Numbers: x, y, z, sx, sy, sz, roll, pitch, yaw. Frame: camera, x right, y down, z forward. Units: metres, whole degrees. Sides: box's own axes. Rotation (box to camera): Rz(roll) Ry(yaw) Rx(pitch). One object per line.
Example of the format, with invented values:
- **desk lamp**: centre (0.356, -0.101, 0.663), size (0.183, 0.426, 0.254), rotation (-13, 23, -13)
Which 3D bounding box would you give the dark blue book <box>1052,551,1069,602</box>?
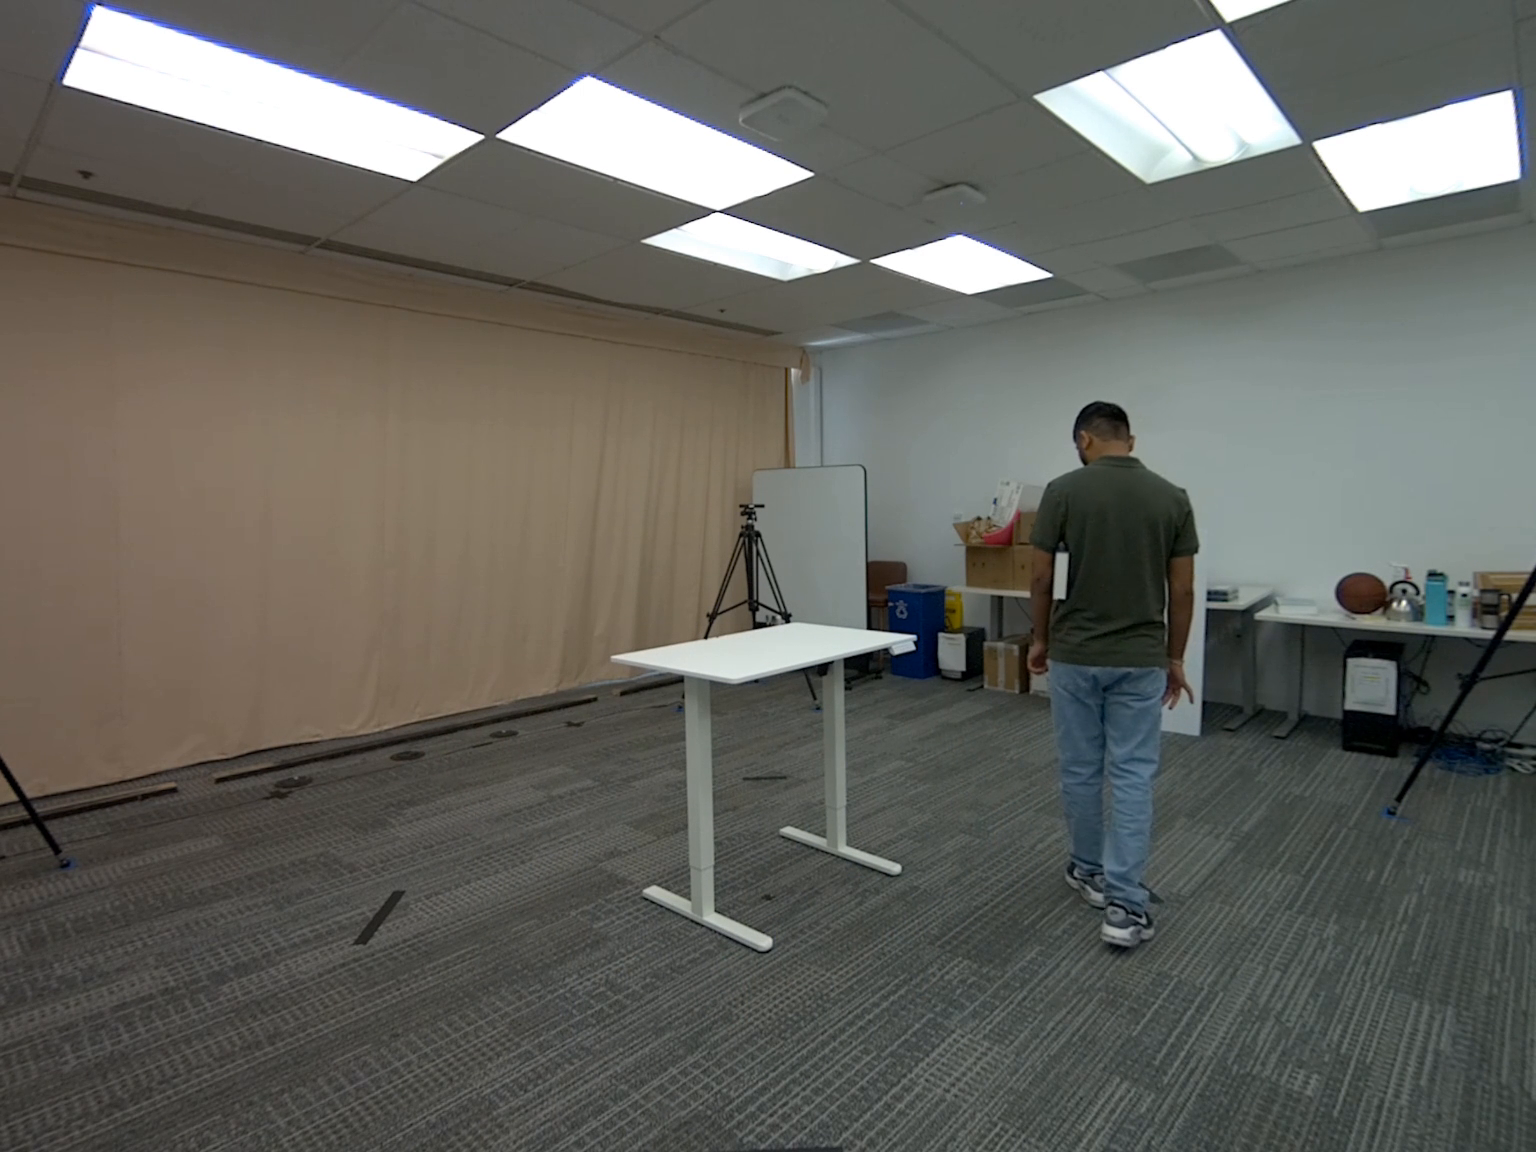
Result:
- **dark blue book**: centre (0.995, -0.021, 2.828), size (0.046, 0.162, 0.242), rotation (5, 13, 17)
